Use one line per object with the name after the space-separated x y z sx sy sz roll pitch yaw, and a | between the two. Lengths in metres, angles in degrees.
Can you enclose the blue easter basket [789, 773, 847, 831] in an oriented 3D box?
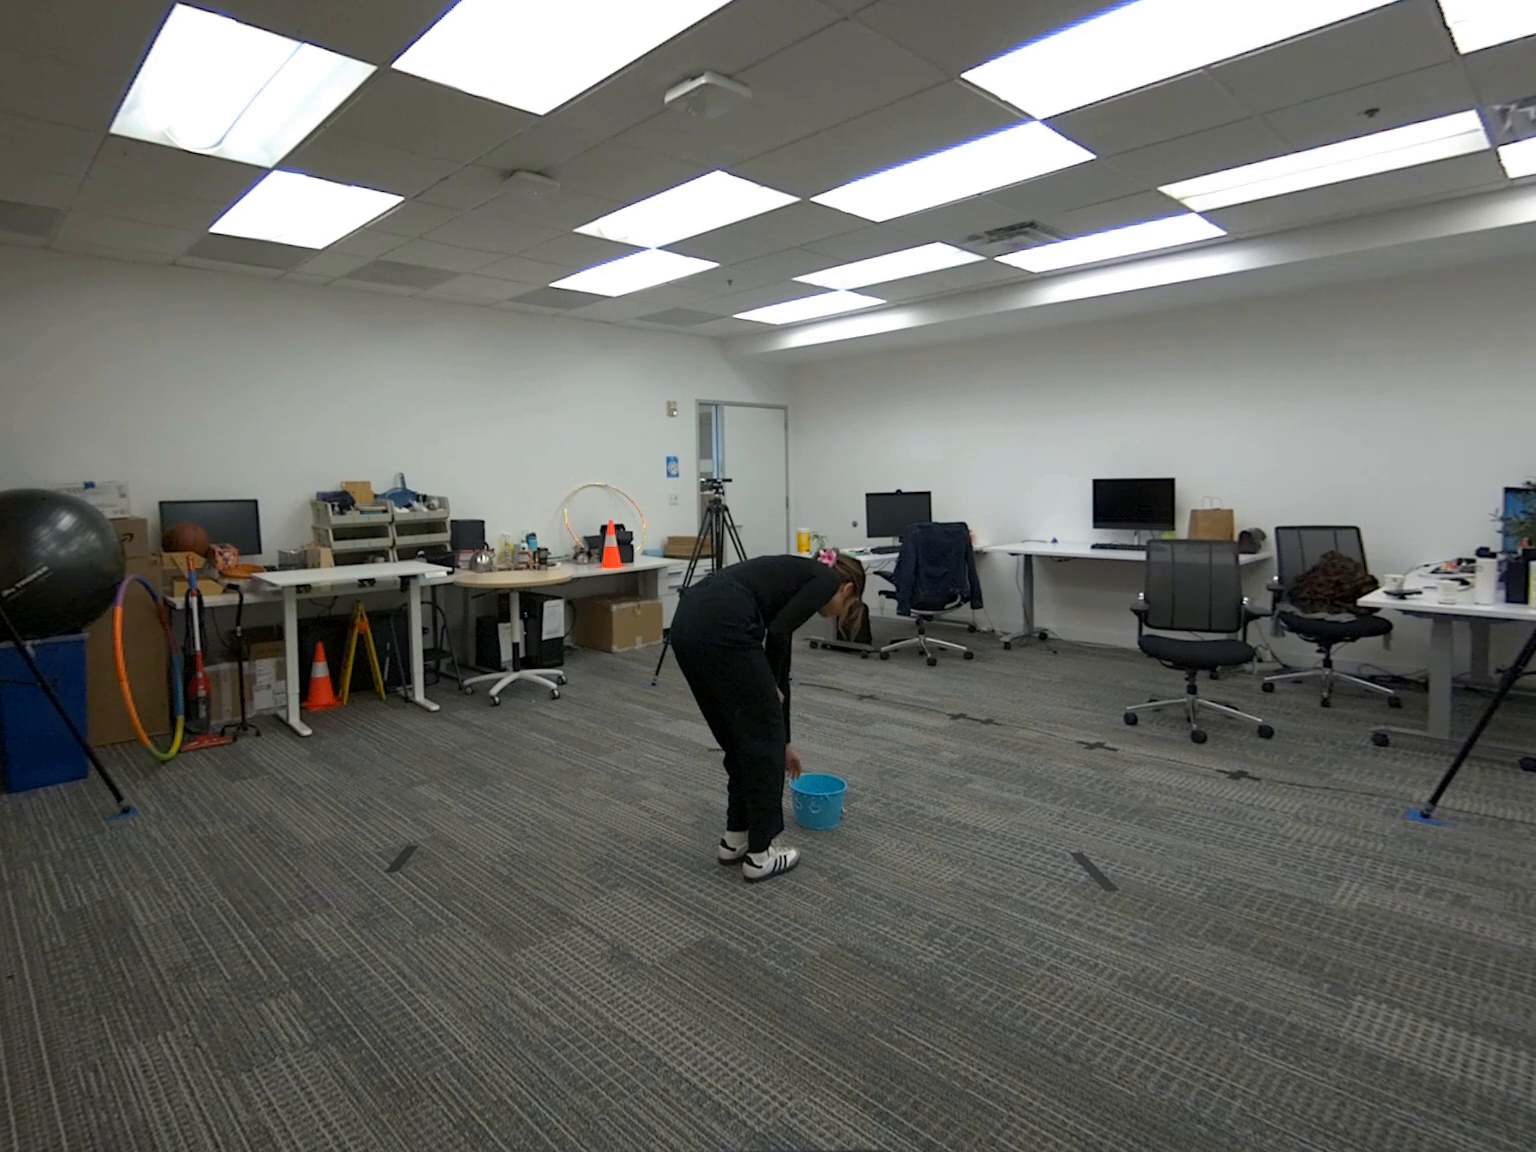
0.209 0.916 3.480 0.243 0.155 0.245 -1 6 -2 | blue easter basket
